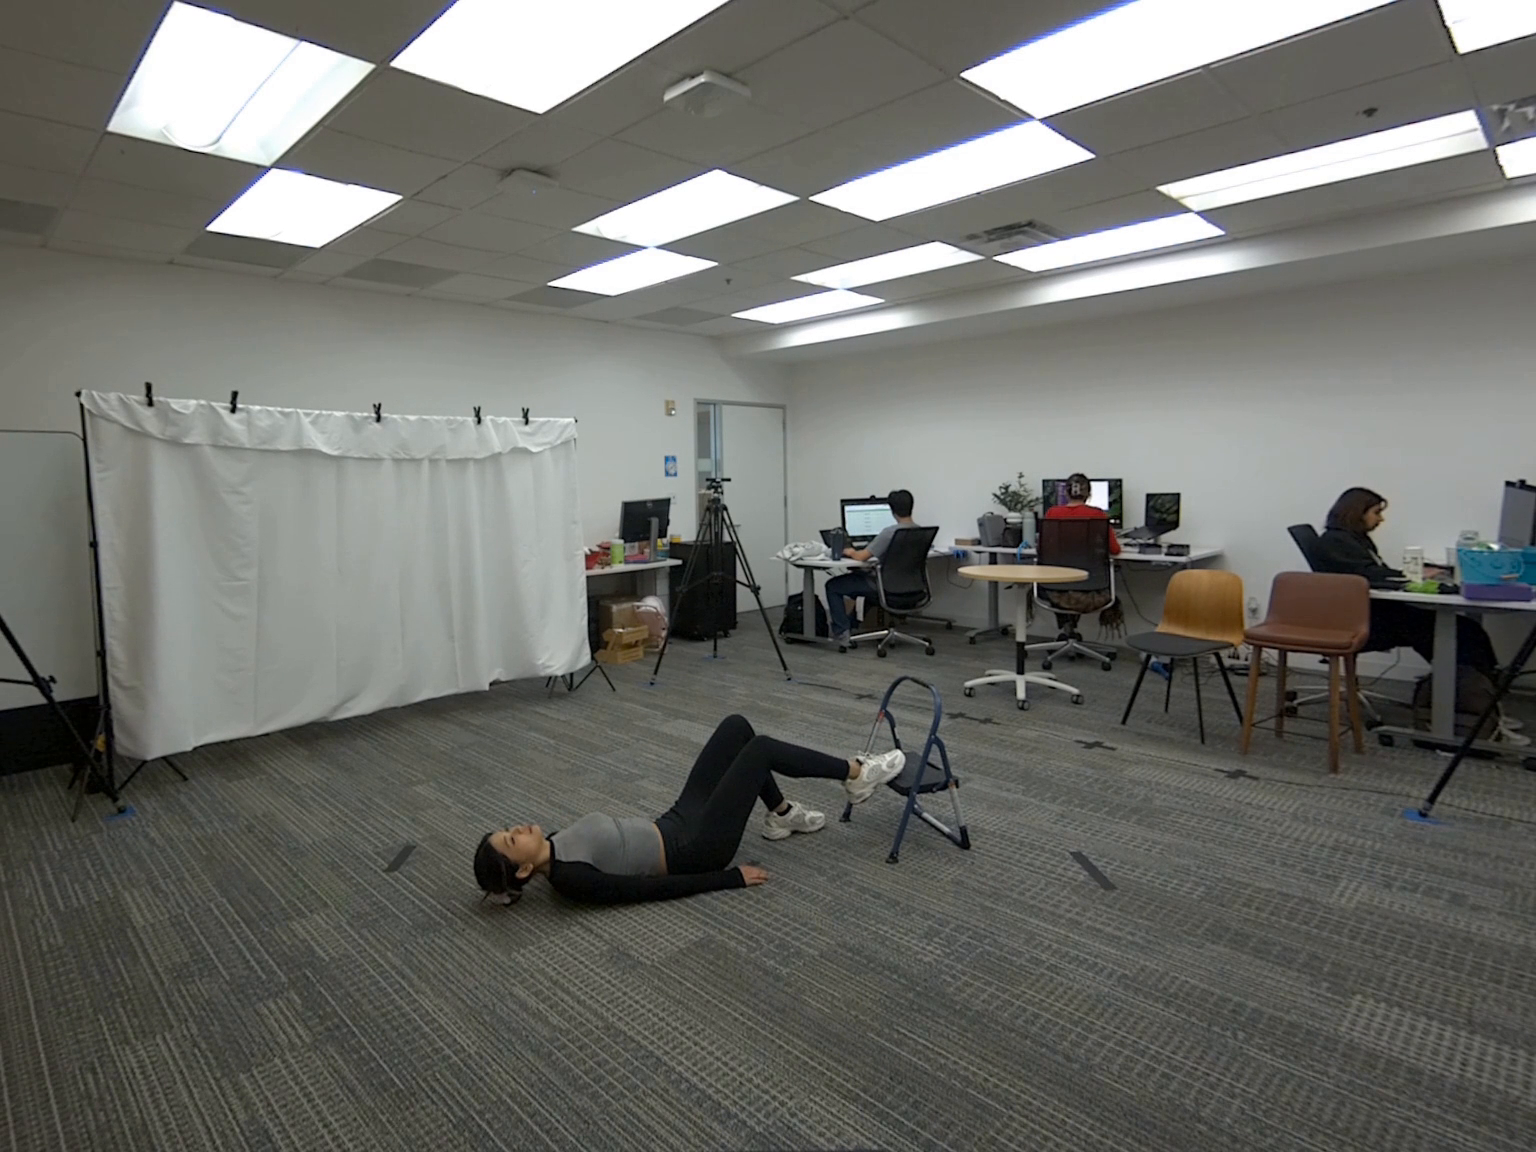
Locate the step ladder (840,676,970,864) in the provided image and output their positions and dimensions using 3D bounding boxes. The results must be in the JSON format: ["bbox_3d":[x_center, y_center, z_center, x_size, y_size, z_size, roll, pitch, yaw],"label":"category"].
[{"bbox_3d":[0.523,0.709,3.316,0.343,0.604,0.440,-3,5,-19],"label":"step ladder"}]
